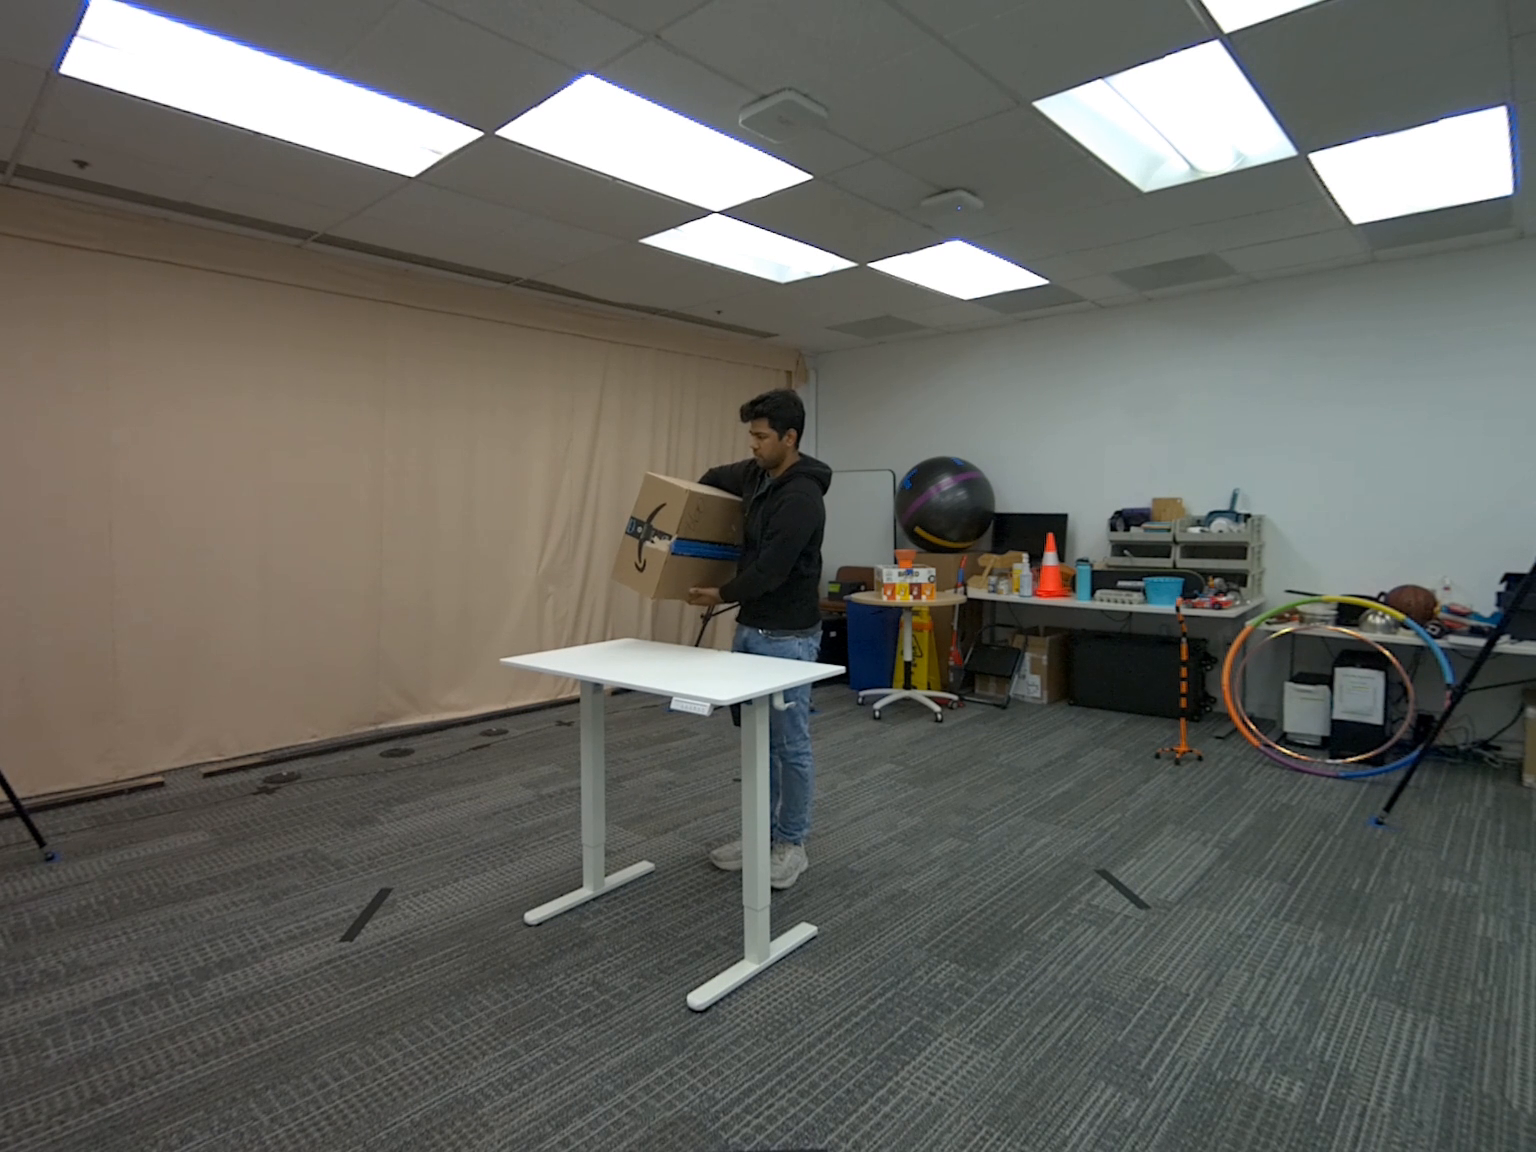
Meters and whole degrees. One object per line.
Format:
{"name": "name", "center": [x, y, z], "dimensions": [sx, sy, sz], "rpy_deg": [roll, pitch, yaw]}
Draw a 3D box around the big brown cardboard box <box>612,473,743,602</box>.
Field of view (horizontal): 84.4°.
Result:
{"name": "big brown cardboard box", "center": [-0.280, -0.129, 3.260], "dimensions": [0.241, 0.417, 0.571], "rpy_deg": [24, 9, 30]}
